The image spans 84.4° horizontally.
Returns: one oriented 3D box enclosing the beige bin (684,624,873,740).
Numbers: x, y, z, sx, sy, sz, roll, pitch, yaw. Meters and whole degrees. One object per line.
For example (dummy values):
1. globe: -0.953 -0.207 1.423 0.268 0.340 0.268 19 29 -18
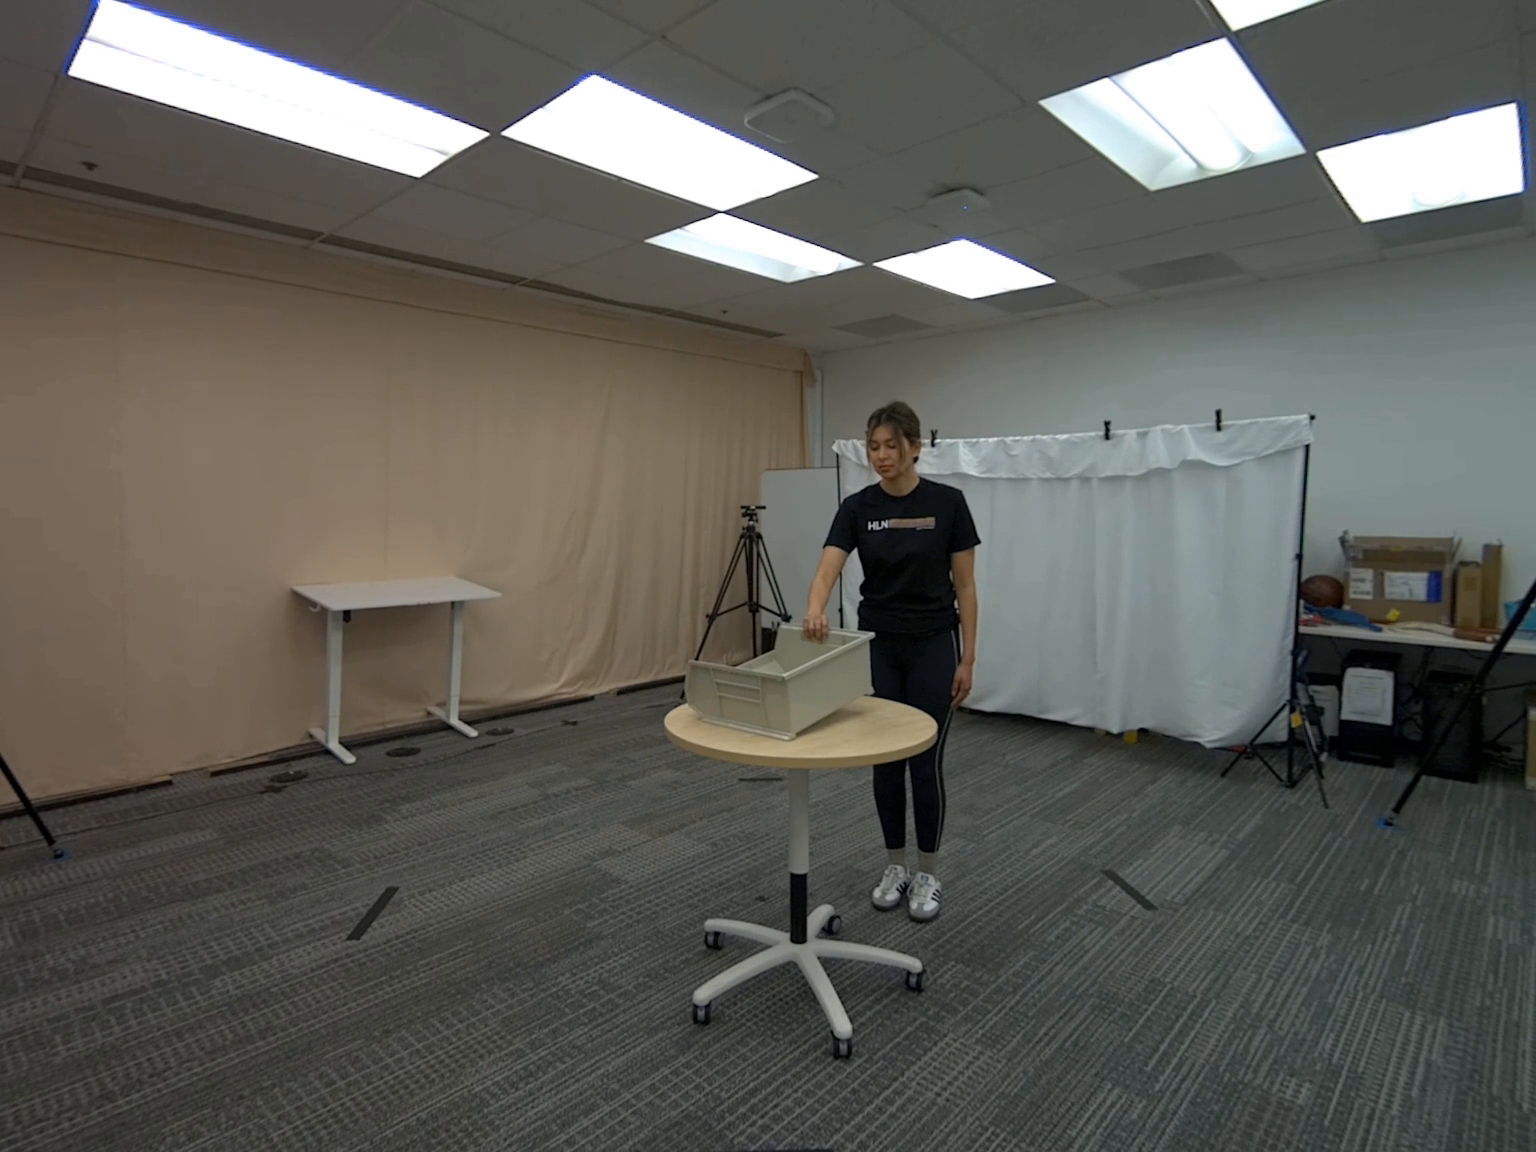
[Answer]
1. beige bin: 0.042 0.287 2.404 0.390 0.187 0.411 5 15 41
